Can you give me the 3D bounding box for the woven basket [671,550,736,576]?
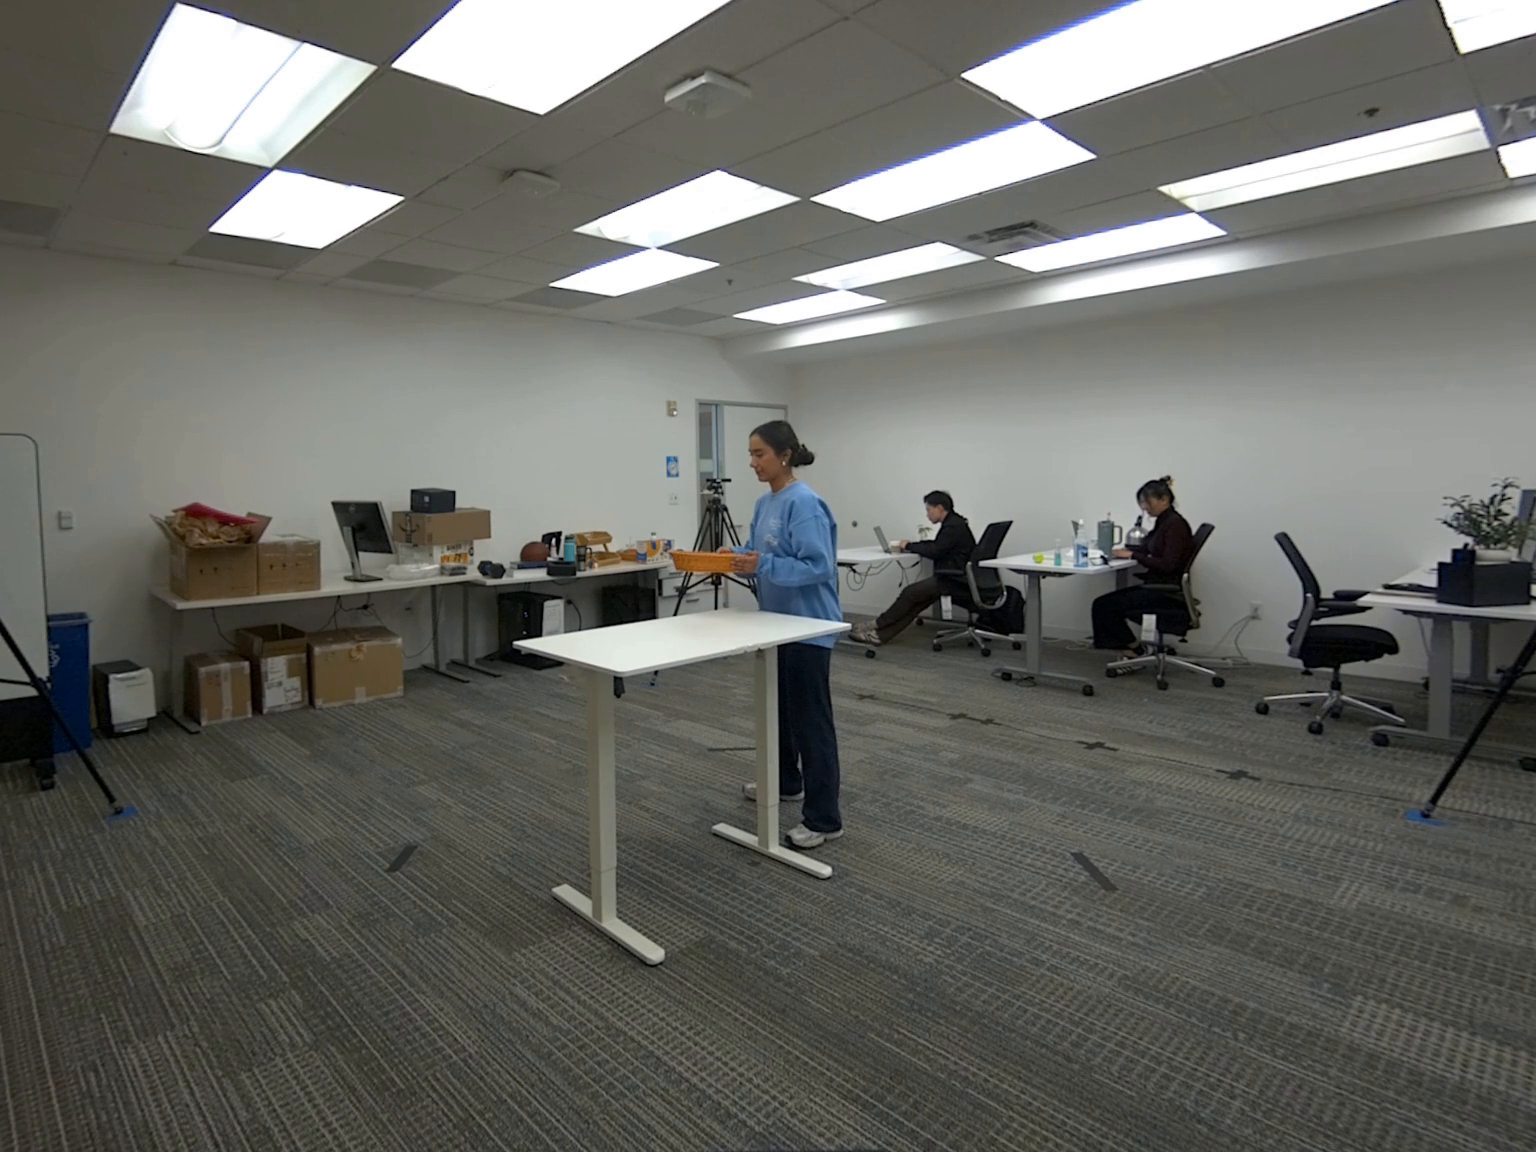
[{"bbox_3d":[-0.212,-0.051,3.287,0.340,0.073,0.260,-1,5,-43],"label":"woven basket"}]
